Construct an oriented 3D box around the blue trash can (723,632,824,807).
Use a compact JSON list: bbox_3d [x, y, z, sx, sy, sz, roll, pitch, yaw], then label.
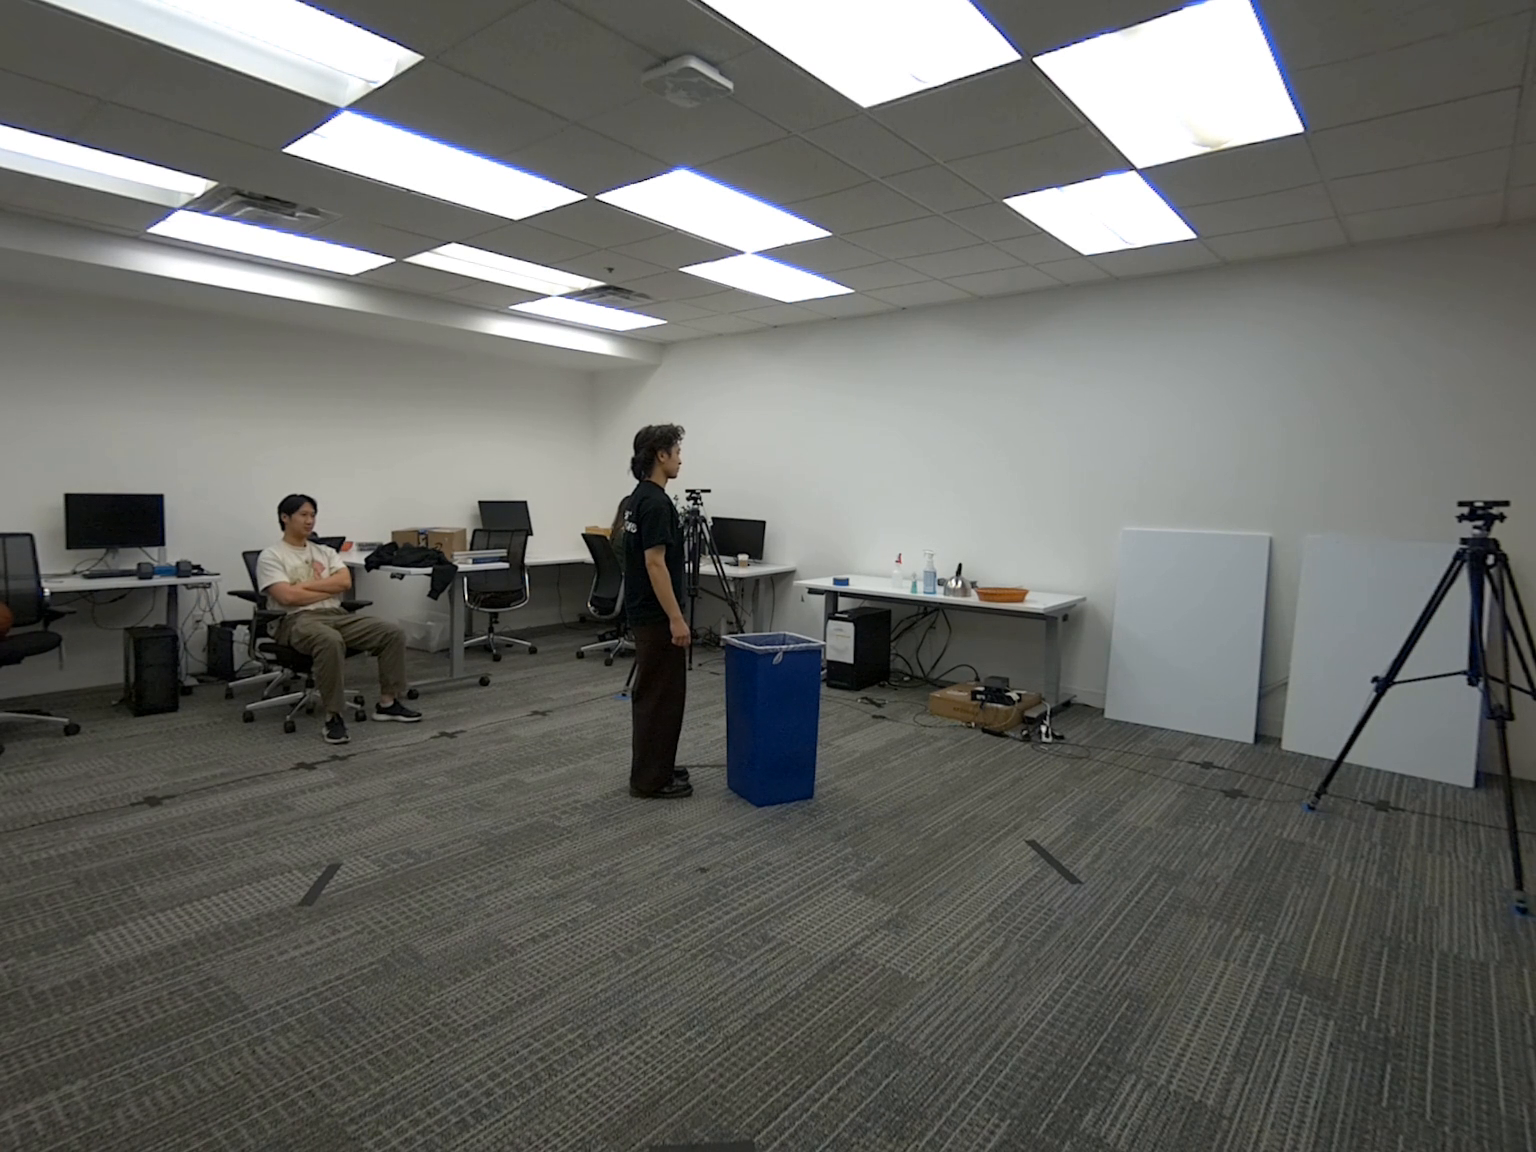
[{"bbox_3d":[-0.004,0.642,3.931,0.368,0.712,0.385,0,3,-31],"label":"blue trash can"}]
